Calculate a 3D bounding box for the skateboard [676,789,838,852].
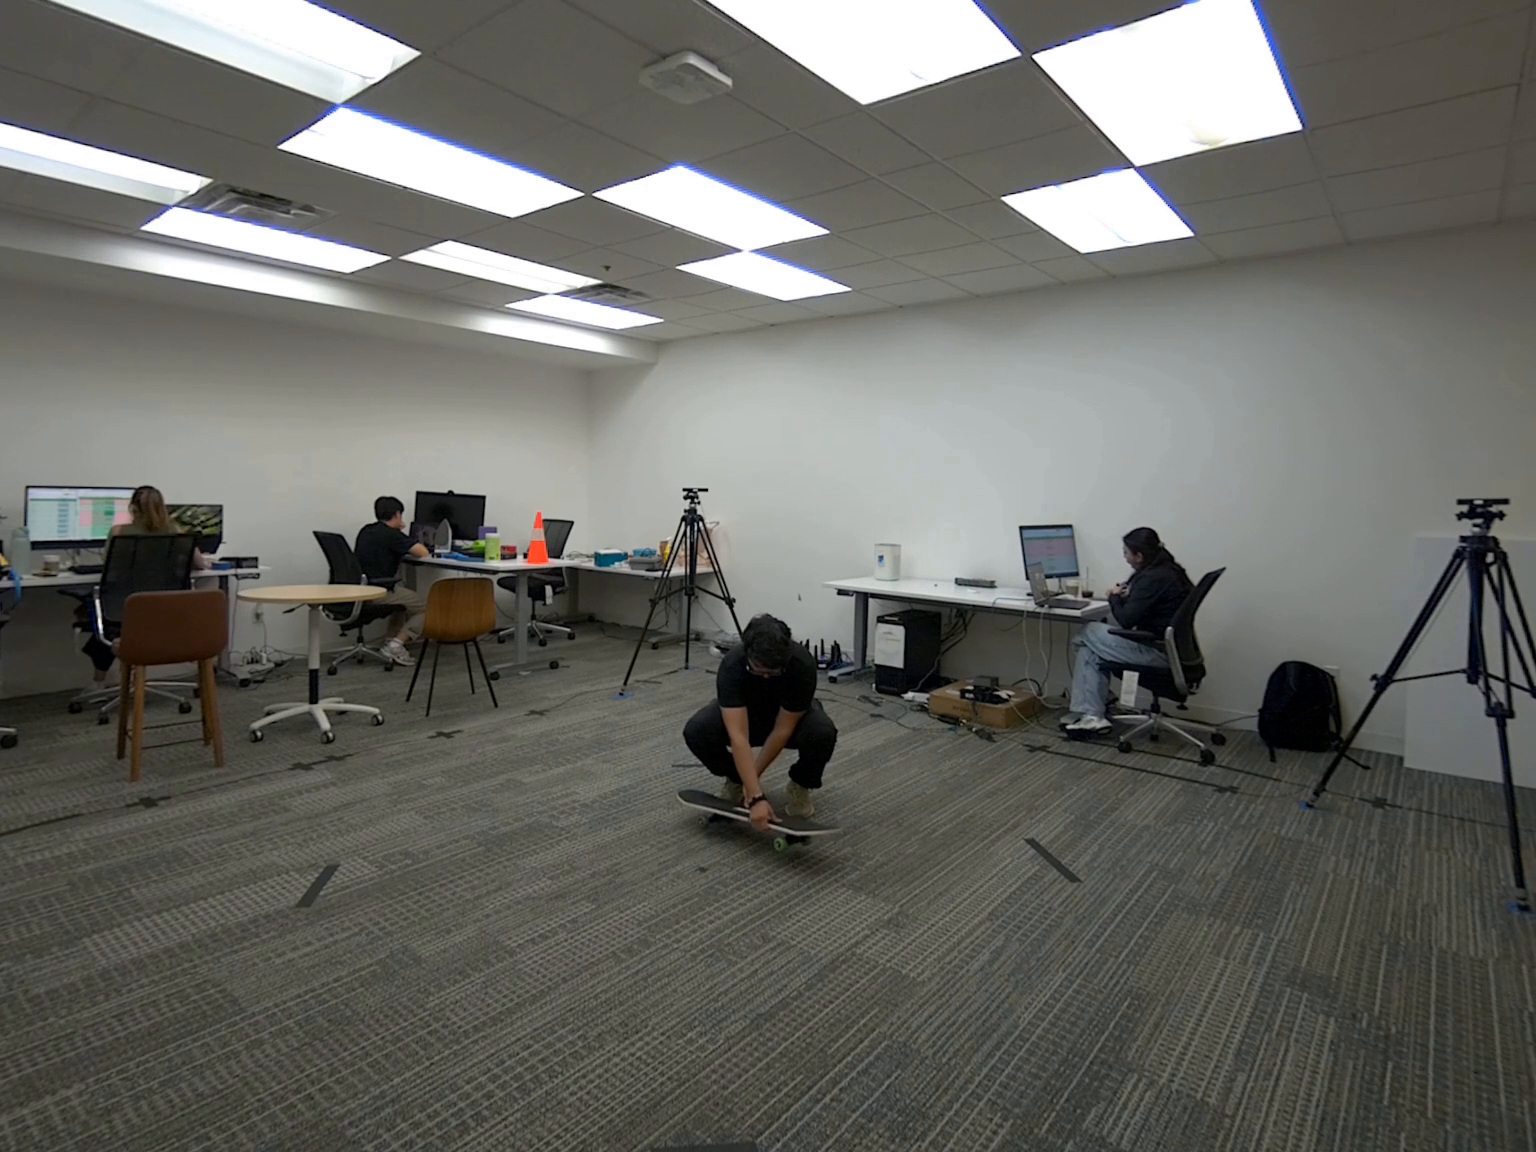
[{"bbox_3d":[-0.067,0.965,3.341,0.810,0.111,0.186,0,-5,41],"label":"skateboard"}]
